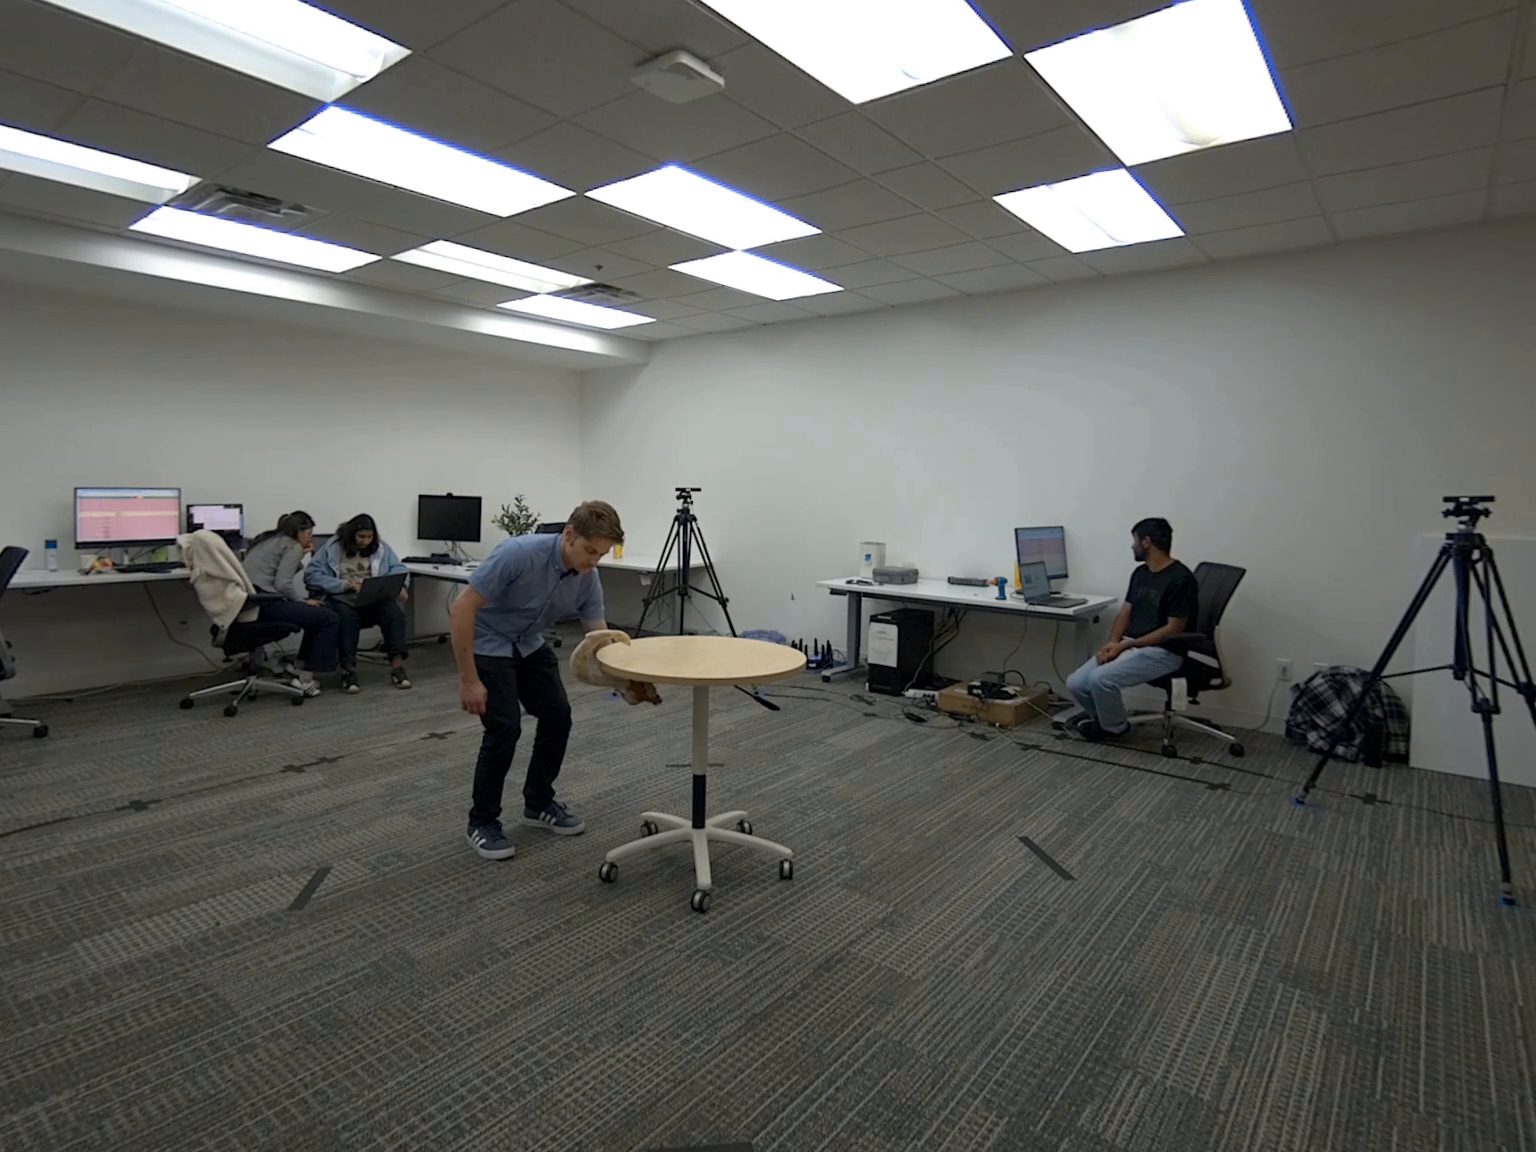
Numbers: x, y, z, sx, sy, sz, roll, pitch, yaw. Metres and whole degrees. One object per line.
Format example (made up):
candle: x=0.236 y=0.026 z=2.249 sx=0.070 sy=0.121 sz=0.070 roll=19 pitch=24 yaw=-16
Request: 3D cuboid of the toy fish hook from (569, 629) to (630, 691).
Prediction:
toy fish hook: x=-0.530 y=0.341 z=3.095 sx=0.485 sy=0.224 sz=0.050 roll=36 pitch=6 yaw=-47
